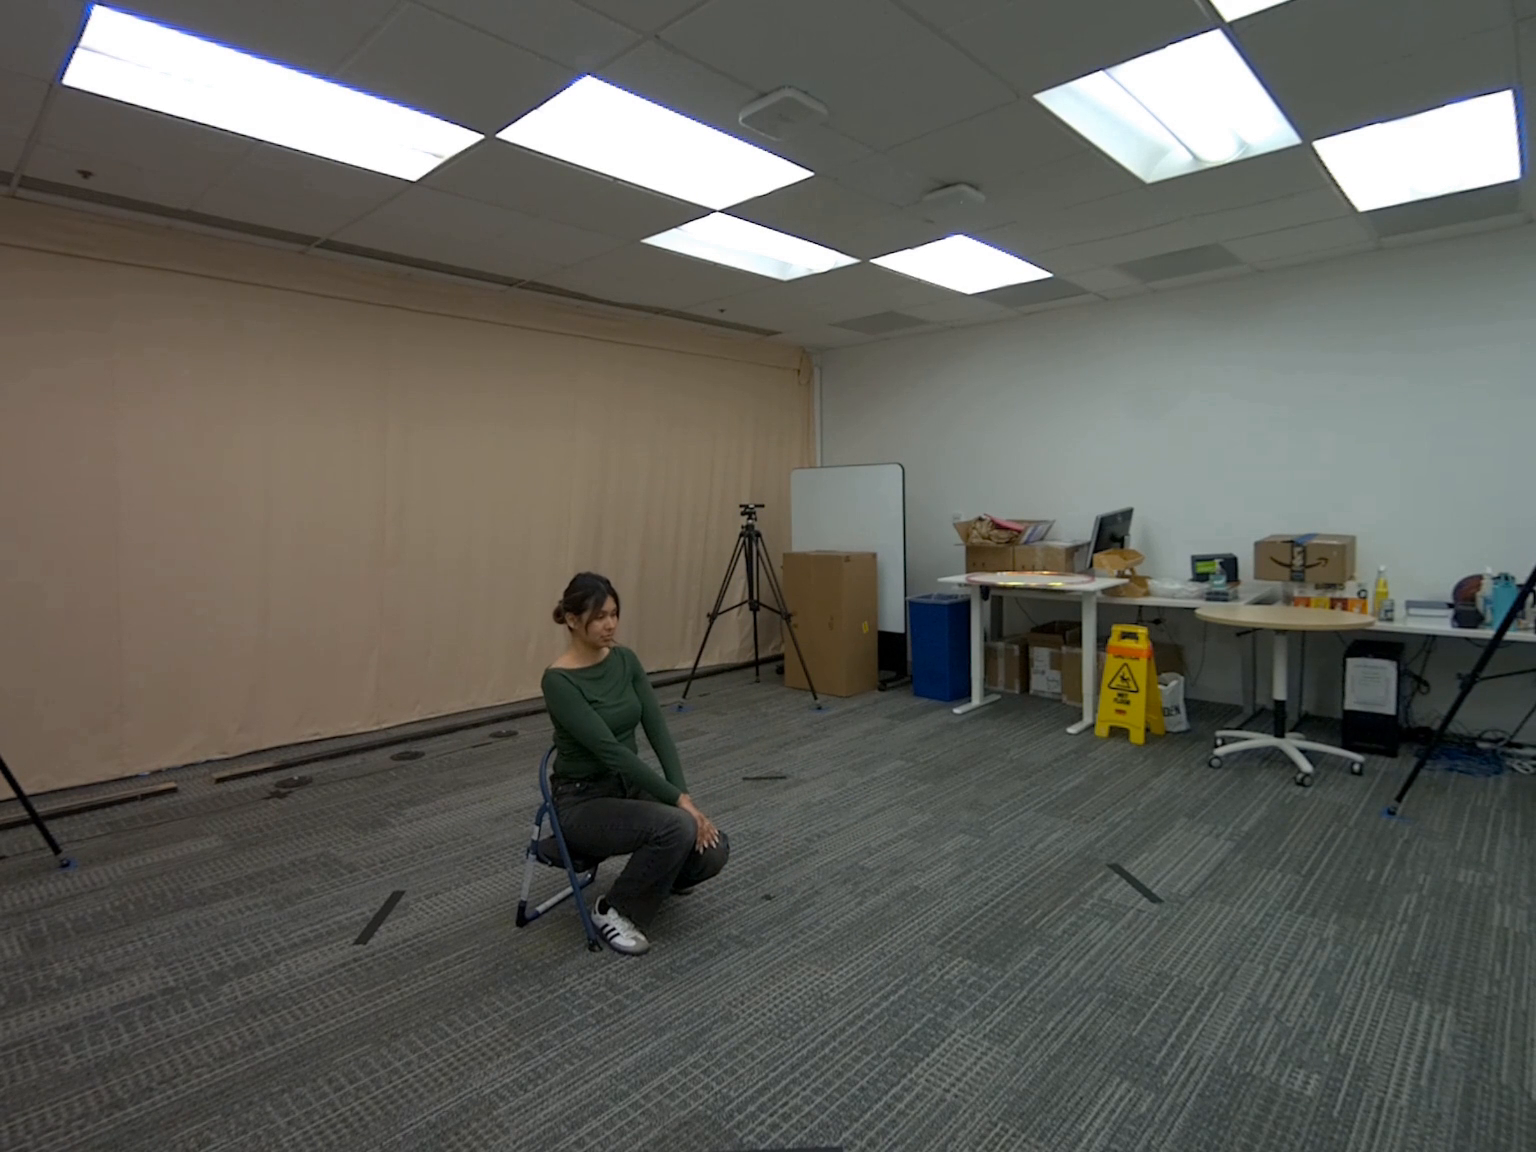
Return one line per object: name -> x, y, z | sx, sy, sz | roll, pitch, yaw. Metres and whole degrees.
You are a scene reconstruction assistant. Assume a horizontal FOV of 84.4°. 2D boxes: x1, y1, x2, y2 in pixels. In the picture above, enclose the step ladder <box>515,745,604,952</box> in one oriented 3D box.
step ladder -> -0.613, 0.867, 2.898 | 0.359, 0.605, 0.420 | 0, 4, 27
